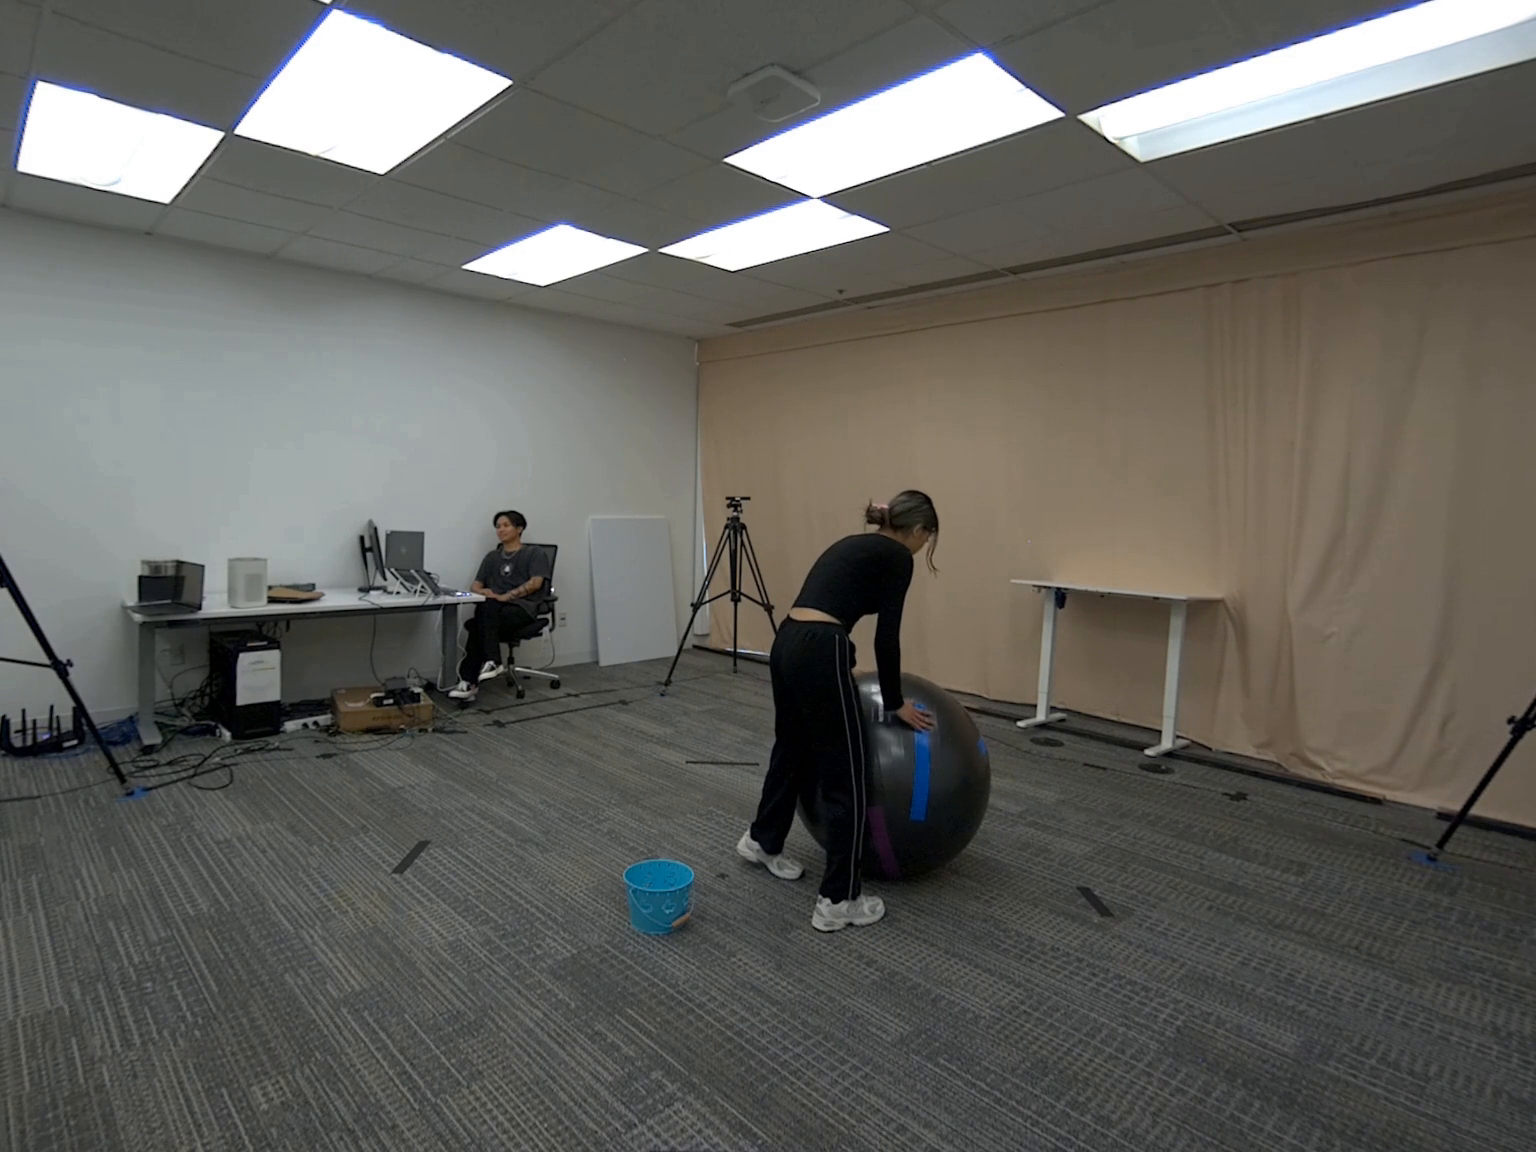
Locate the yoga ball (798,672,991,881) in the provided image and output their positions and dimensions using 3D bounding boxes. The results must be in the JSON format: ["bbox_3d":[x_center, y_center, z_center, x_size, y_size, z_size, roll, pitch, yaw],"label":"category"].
[{"bbox_3d":[0.453,0.749,3.213,0.757,0.756,0.761,1,4,-1],"label":"yoga ball"}]
